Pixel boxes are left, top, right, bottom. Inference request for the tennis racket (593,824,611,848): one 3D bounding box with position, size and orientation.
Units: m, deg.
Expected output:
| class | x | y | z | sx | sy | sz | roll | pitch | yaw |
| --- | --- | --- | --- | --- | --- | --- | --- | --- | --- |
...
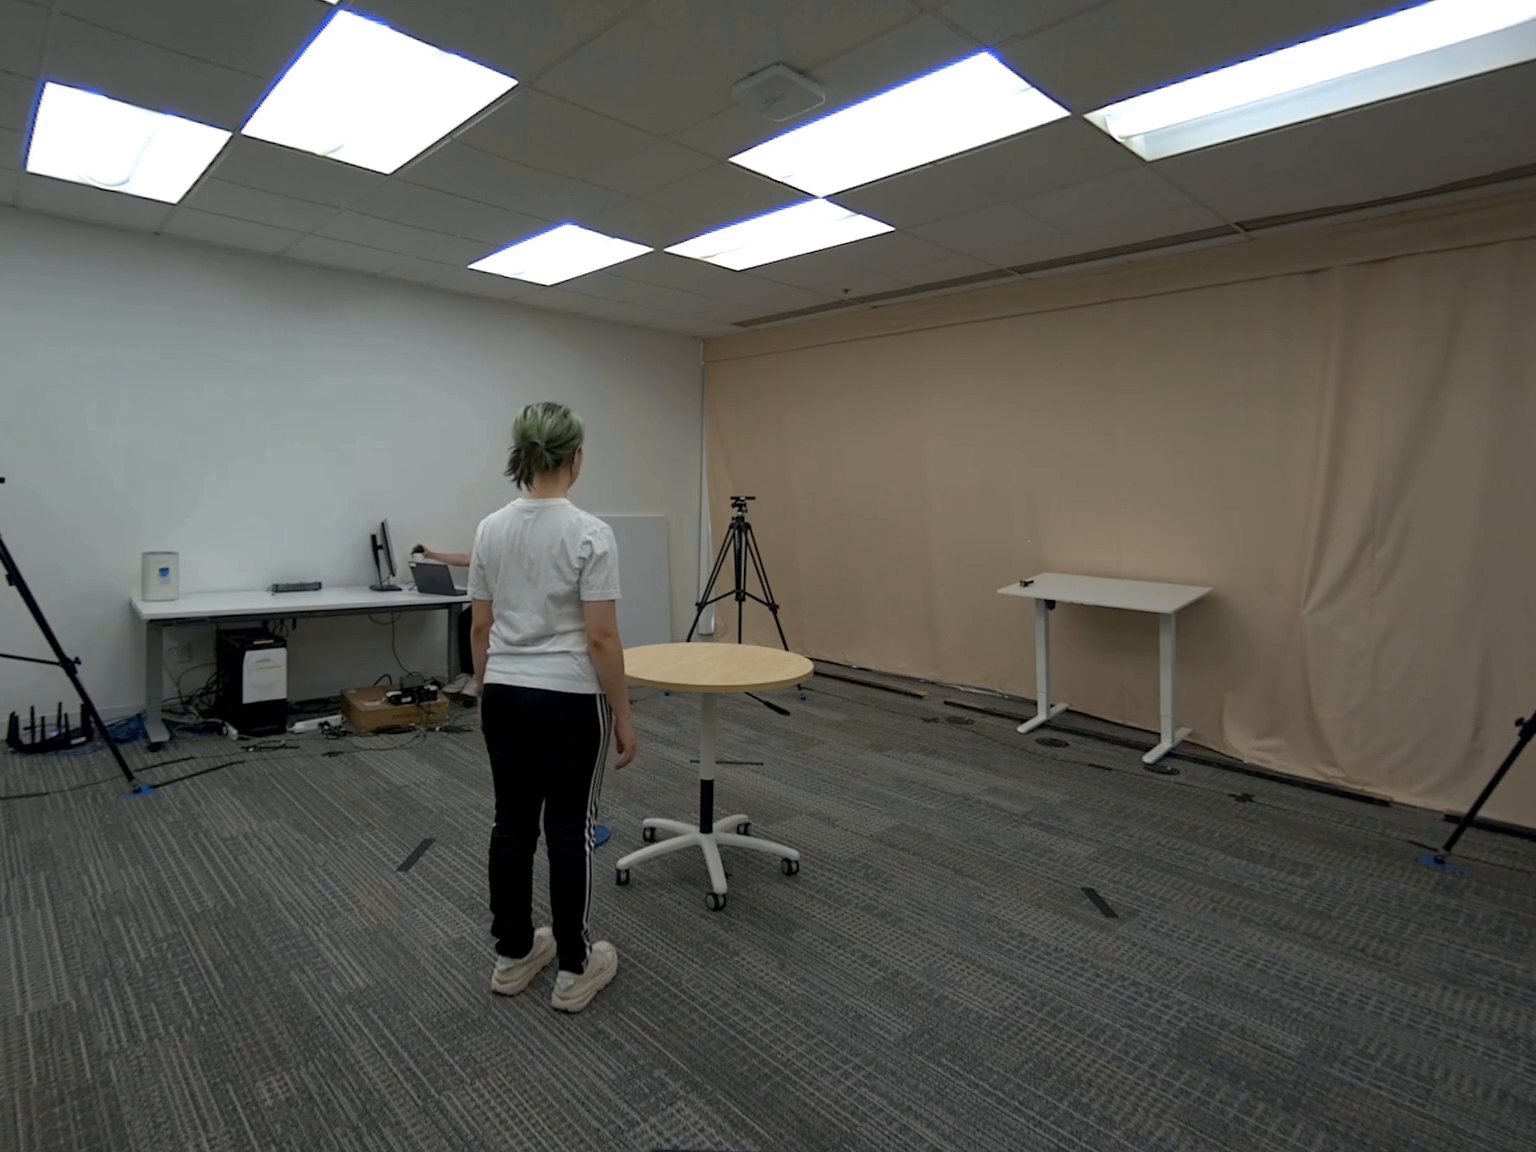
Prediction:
| class | x | y | z | sx | sy | sz | roll | pitch | yaw |
| --- | --- | --- | --- | --- | --- | --- | --- | --- | --- |
| tennis racket | -0.749 | 1.057 | 3.330 | 0.214 | 0.032 | 0.432 | 2 | 4 | 3 |
